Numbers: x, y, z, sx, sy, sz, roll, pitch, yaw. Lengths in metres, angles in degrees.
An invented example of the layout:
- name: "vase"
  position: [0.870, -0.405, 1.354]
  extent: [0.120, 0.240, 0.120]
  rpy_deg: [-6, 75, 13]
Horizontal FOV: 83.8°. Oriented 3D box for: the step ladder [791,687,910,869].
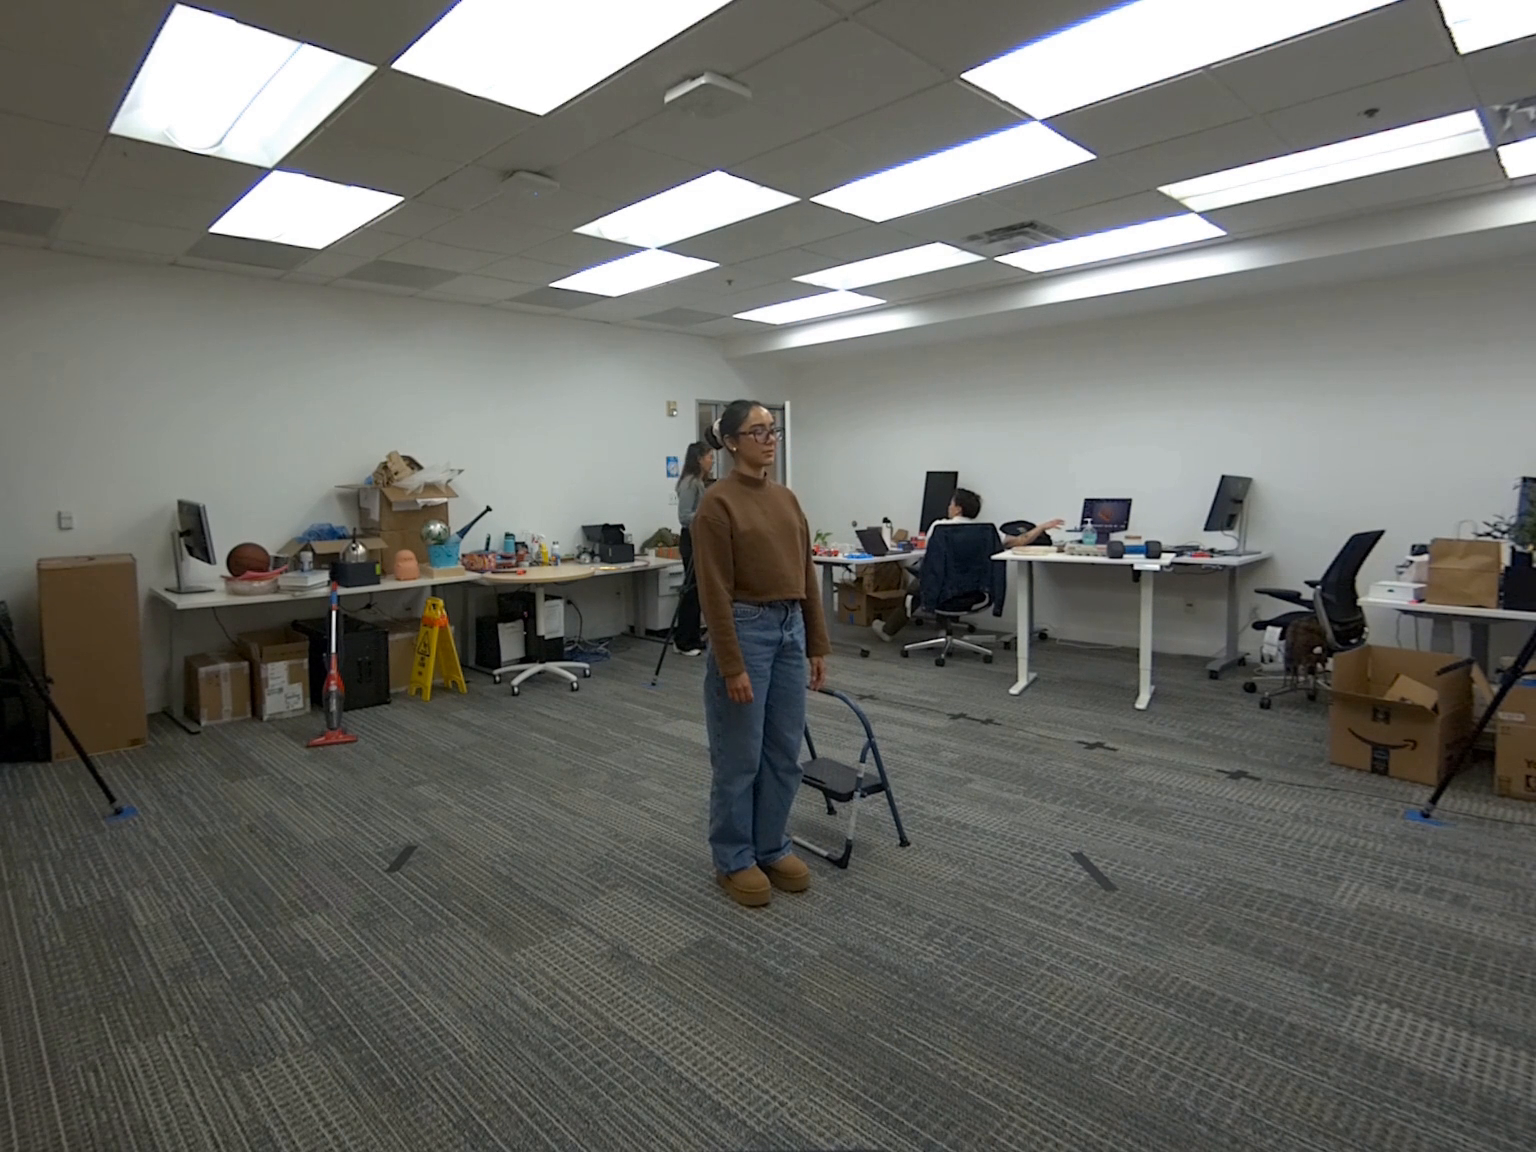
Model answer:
- name: "step ladder"
  position: [0.268, 0.713, 3.291]
  extent: [0.340, 0.604, 0.444]
  rpy_deg: [-5, 6, -38]
